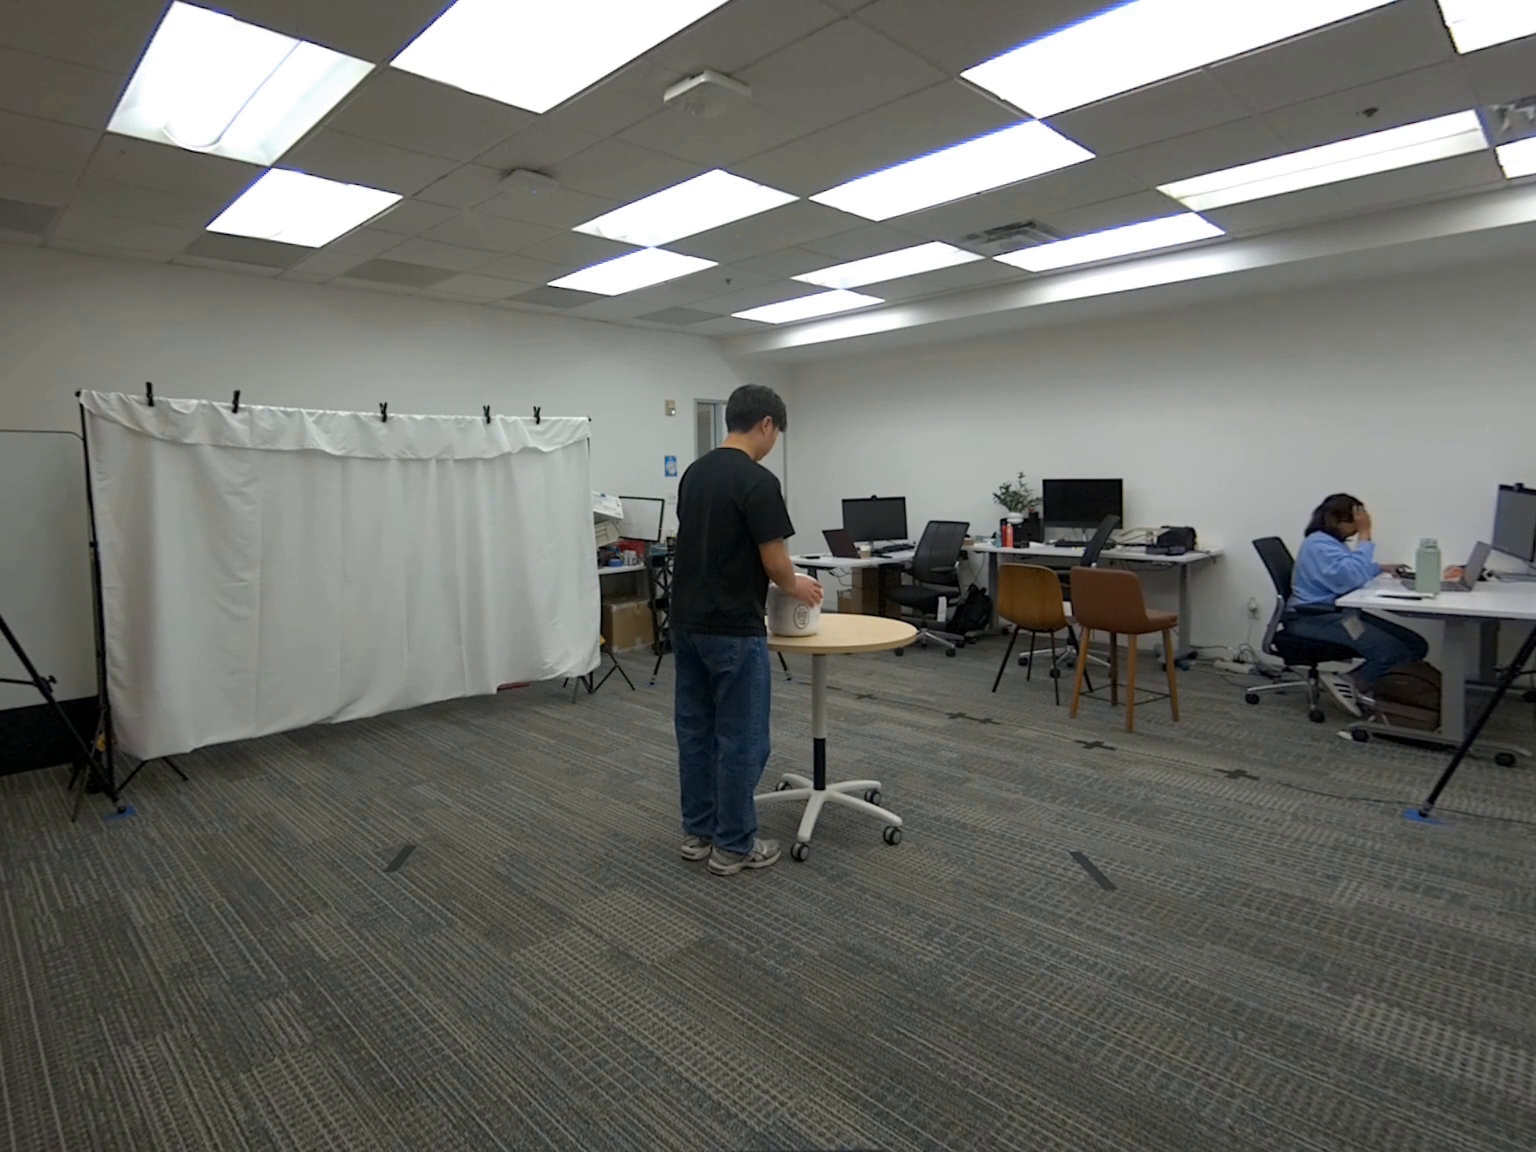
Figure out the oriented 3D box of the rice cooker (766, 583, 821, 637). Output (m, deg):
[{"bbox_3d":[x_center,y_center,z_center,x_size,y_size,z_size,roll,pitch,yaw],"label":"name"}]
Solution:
[{"bbox_3d":[0.101,0.105,3.289,0.218,0.232,0.220,-3,4,-12],"label":"rice cooker"}]
